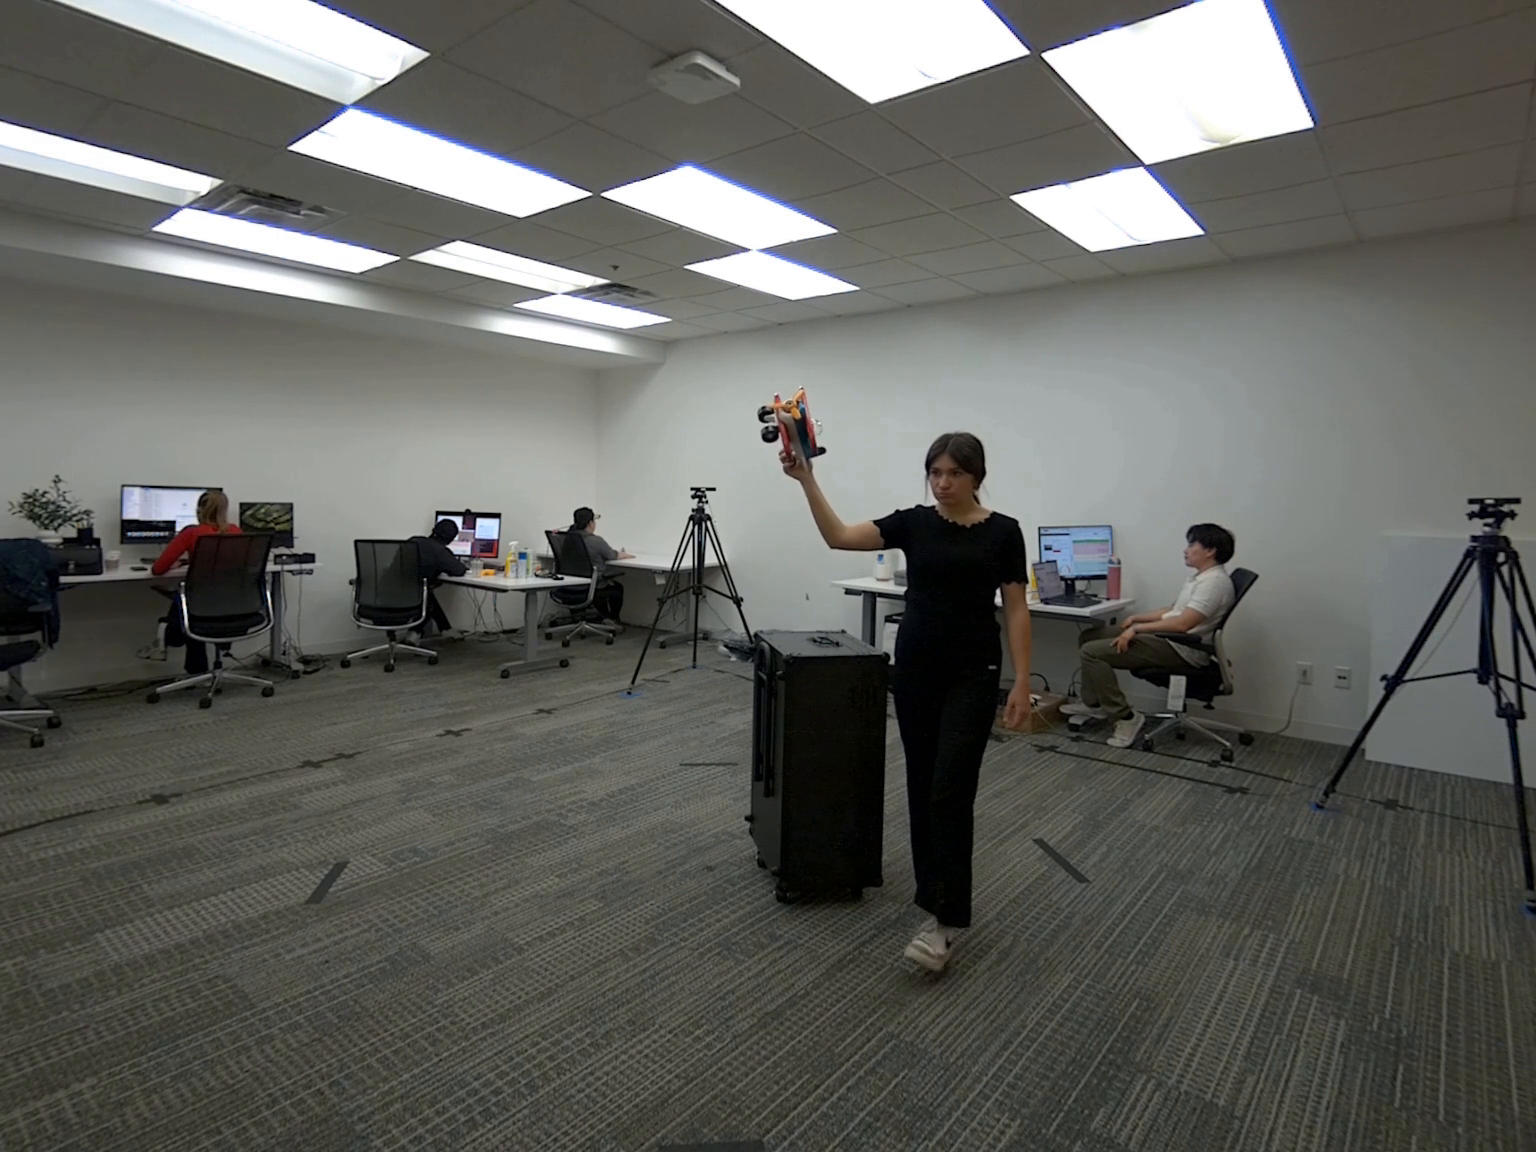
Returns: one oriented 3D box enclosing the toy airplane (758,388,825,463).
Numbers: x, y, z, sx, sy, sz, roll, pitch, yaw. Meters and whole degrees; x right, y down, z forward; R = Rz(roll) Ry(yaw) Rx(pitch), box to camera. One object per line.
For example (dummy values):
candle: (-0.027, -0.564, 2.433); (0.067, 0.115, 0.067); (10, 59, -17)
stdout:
toy airplane: (0.072, -0.458, 2.626); (0.158, 0.255, 0.252); (-22, -11, 18)
